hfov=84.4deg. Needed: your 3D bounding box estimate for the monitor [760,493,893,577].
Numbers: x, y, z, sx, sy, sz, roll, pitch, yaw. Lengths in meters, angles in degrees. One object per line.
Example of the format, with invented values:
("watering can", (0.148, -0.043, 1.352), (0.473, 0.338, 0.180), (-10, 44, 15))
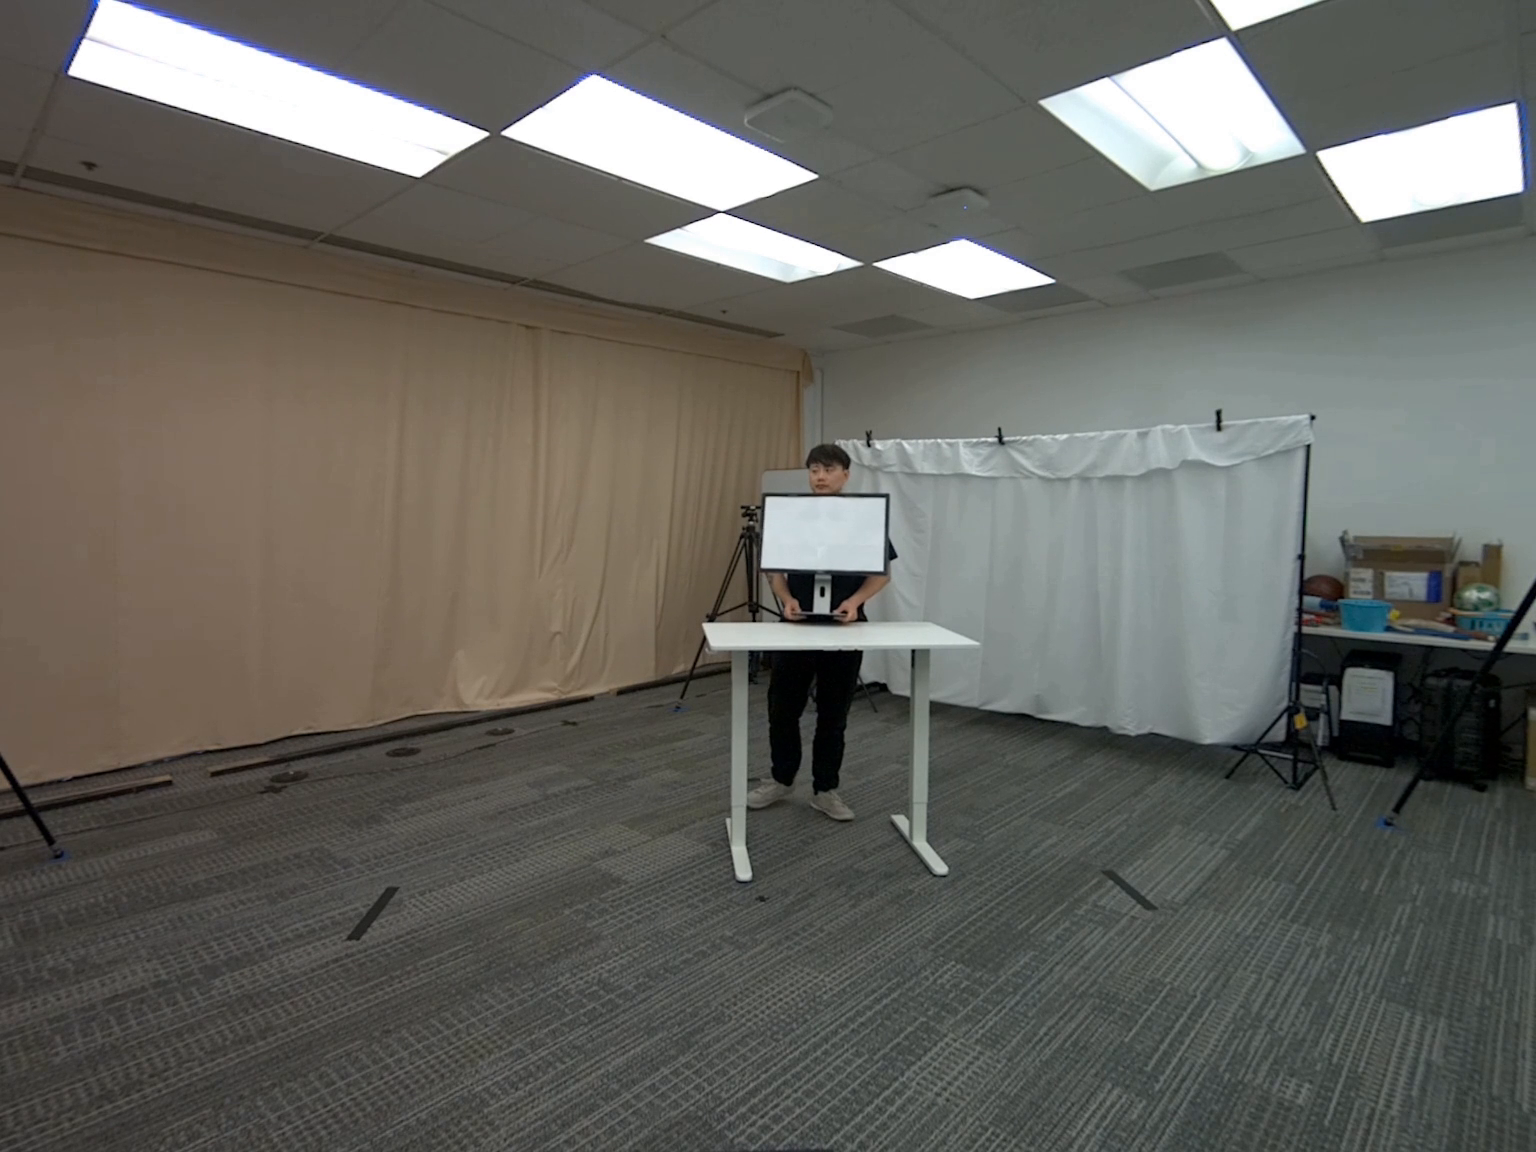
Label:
("monitor", (0.236, -0.087, 3.660), (0.545, 0.524, 0.184), (1, -5, 10))
